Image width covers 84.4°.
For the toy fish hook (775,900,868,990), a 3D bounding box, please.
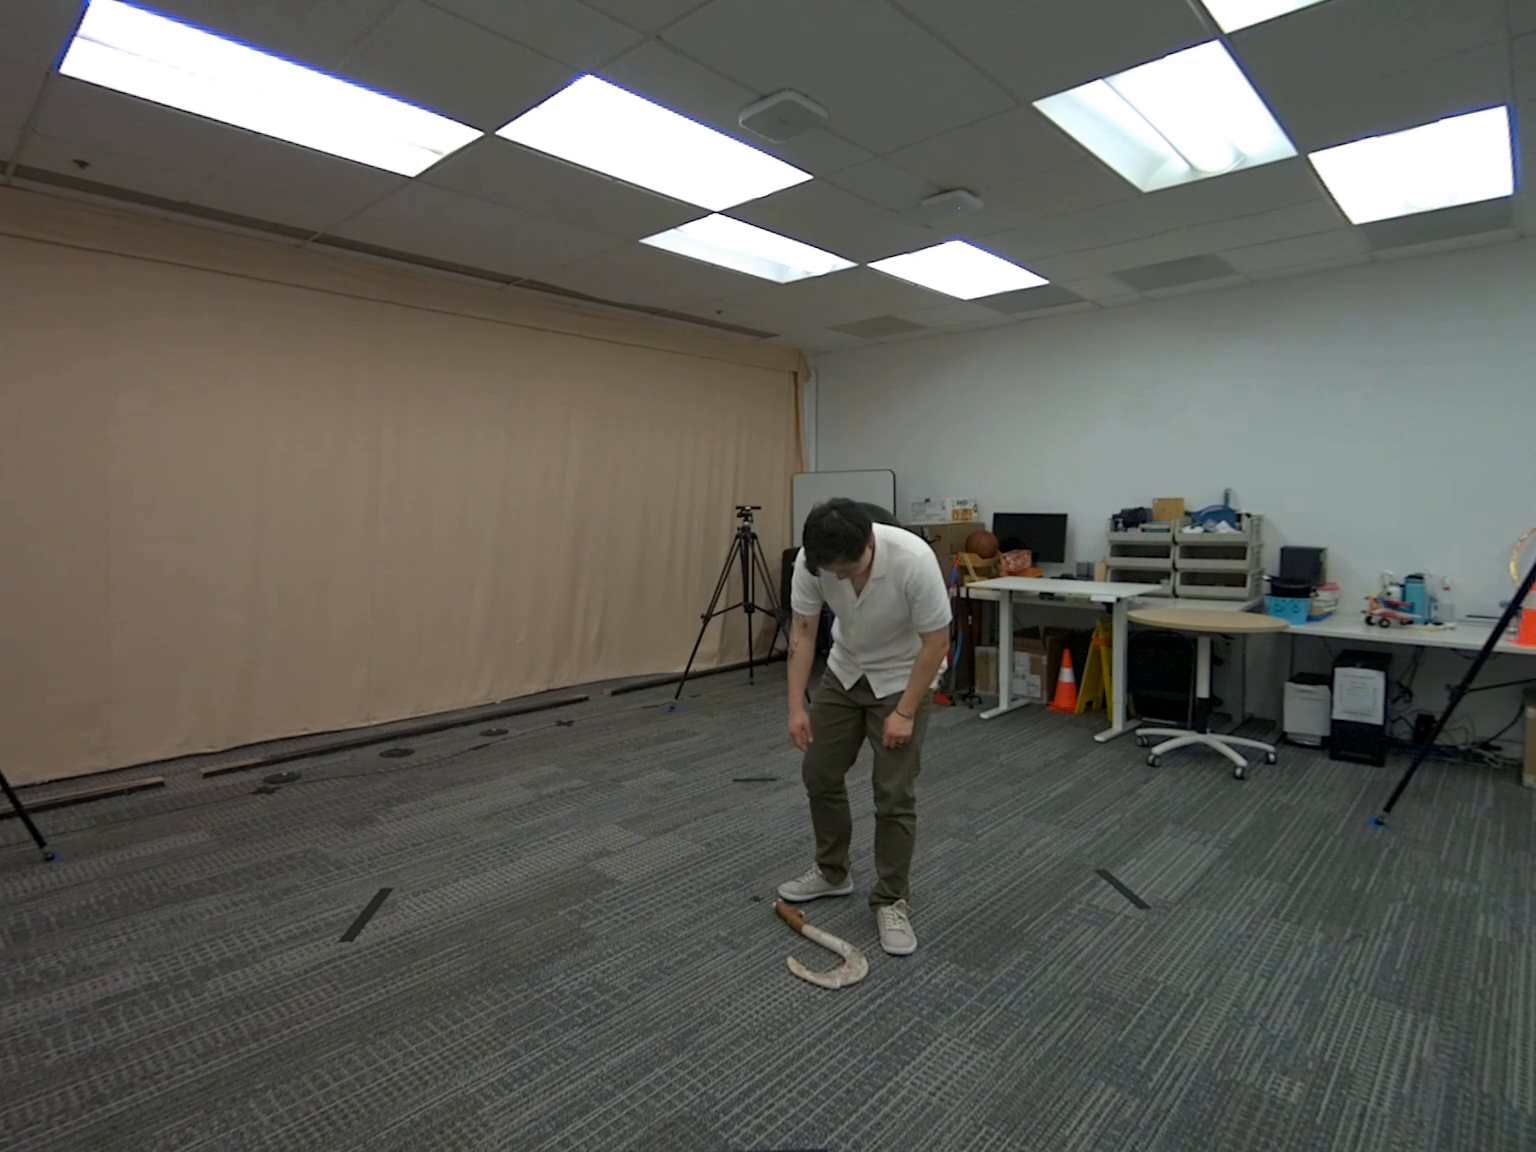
[{"bbox_3d":[0.117,1.147,2.655,0.219,0.048,0.521,-2,4,-29],"label":"toy fish hook"}]
